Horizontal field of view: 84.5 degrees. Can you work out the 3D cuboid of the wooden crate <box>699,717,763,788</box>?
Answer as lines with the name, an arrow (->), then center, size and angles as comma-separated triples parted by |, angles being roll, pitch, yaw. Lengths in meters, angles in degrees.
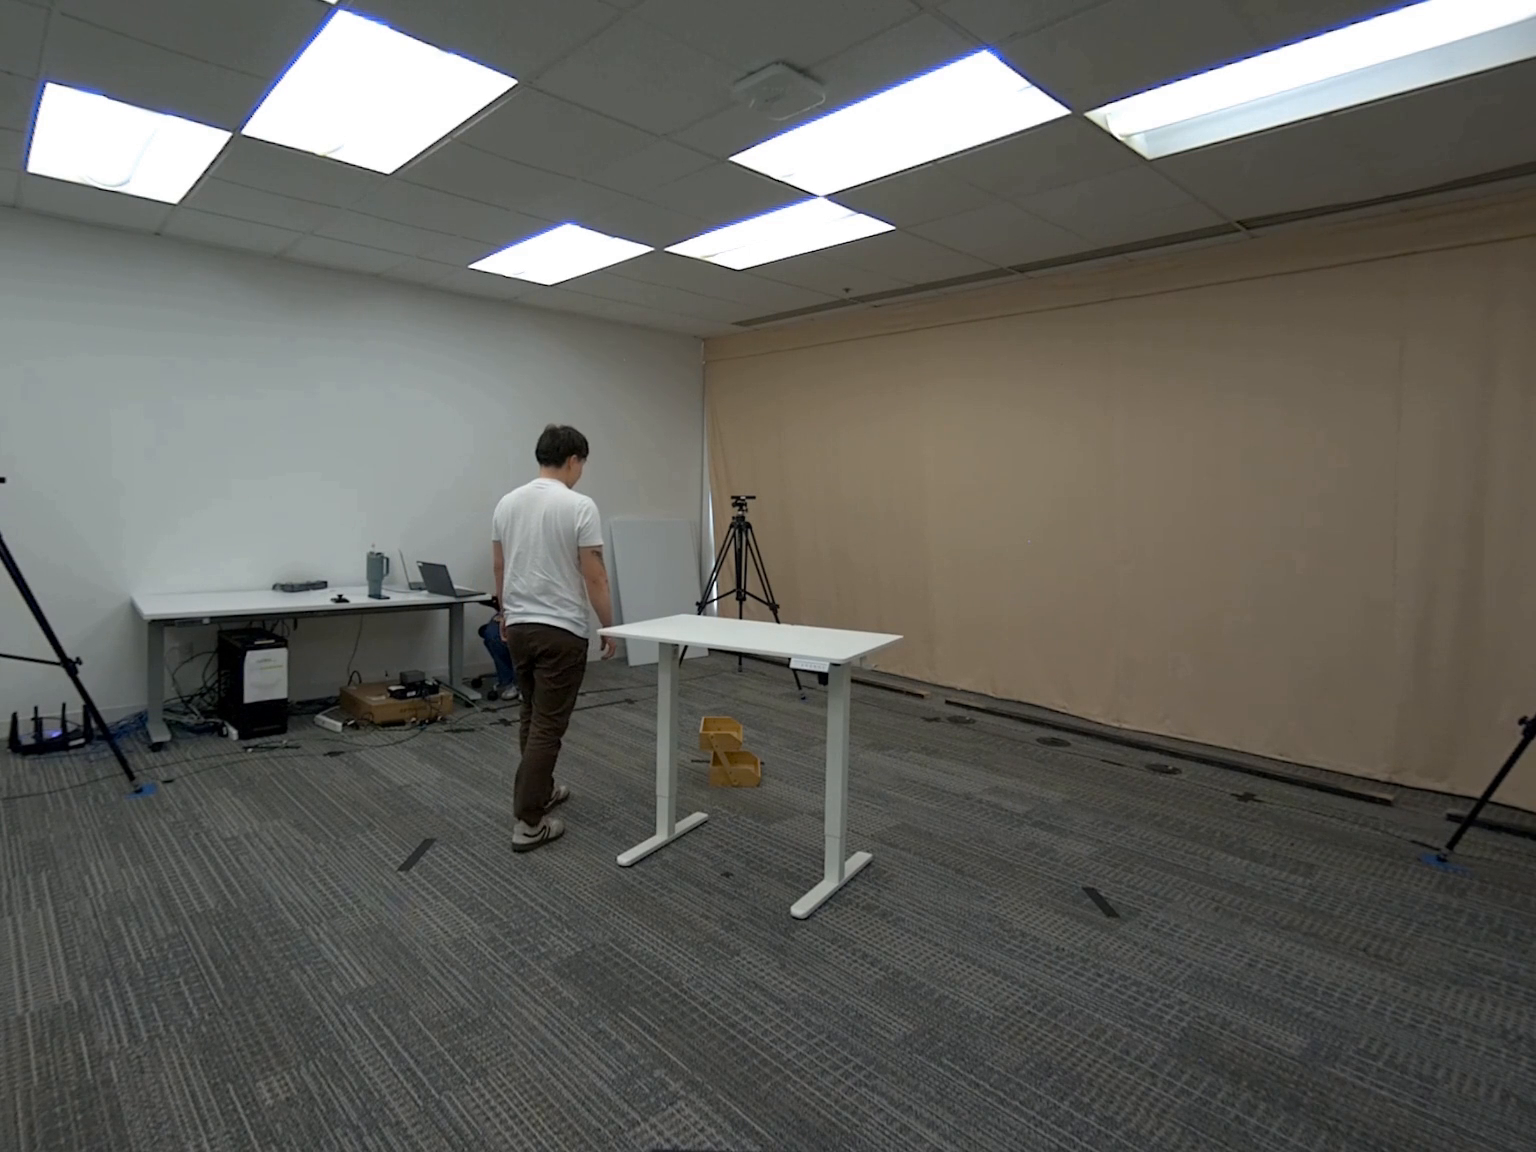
wooden crate -> -0.194, 0.871, 4.227 | 0.302, 0.272, 0.325 | 1, 4, -2
